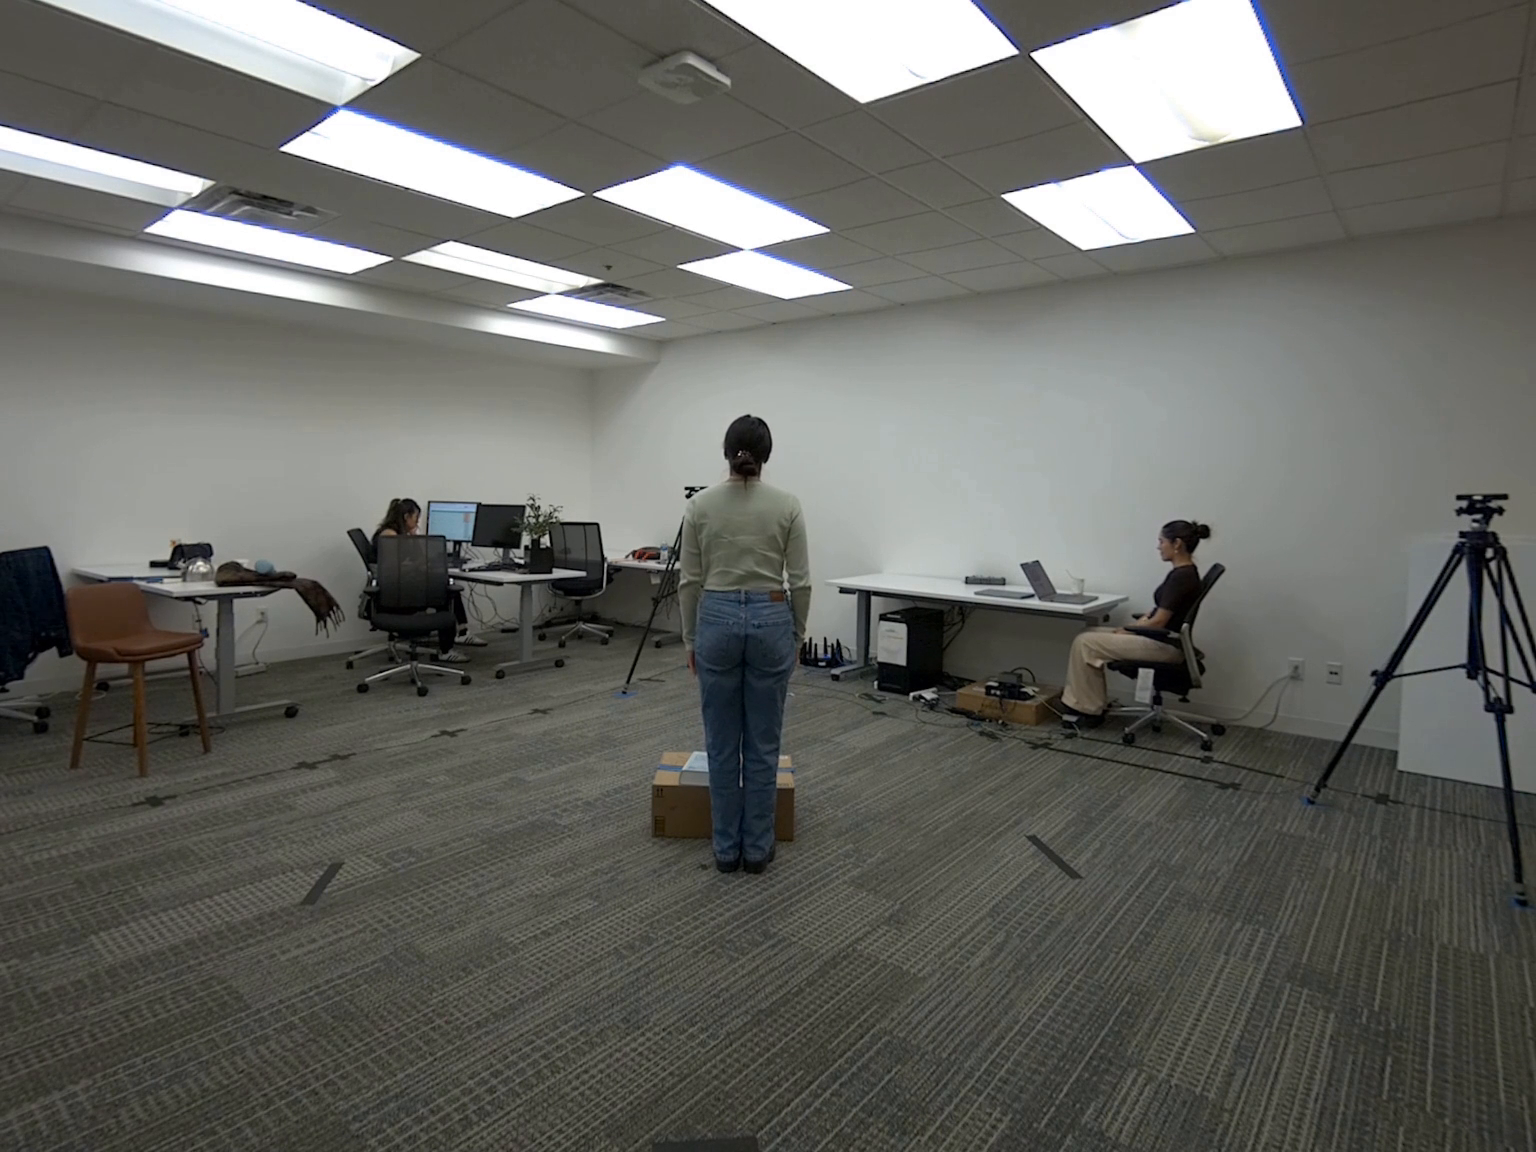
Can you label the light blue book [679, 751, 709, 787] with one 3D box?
[{"bbox_3d":[-0.252,0.782,3.483,0.193,0.059,0.259,3,4,7],"label":"light blue book"}]
